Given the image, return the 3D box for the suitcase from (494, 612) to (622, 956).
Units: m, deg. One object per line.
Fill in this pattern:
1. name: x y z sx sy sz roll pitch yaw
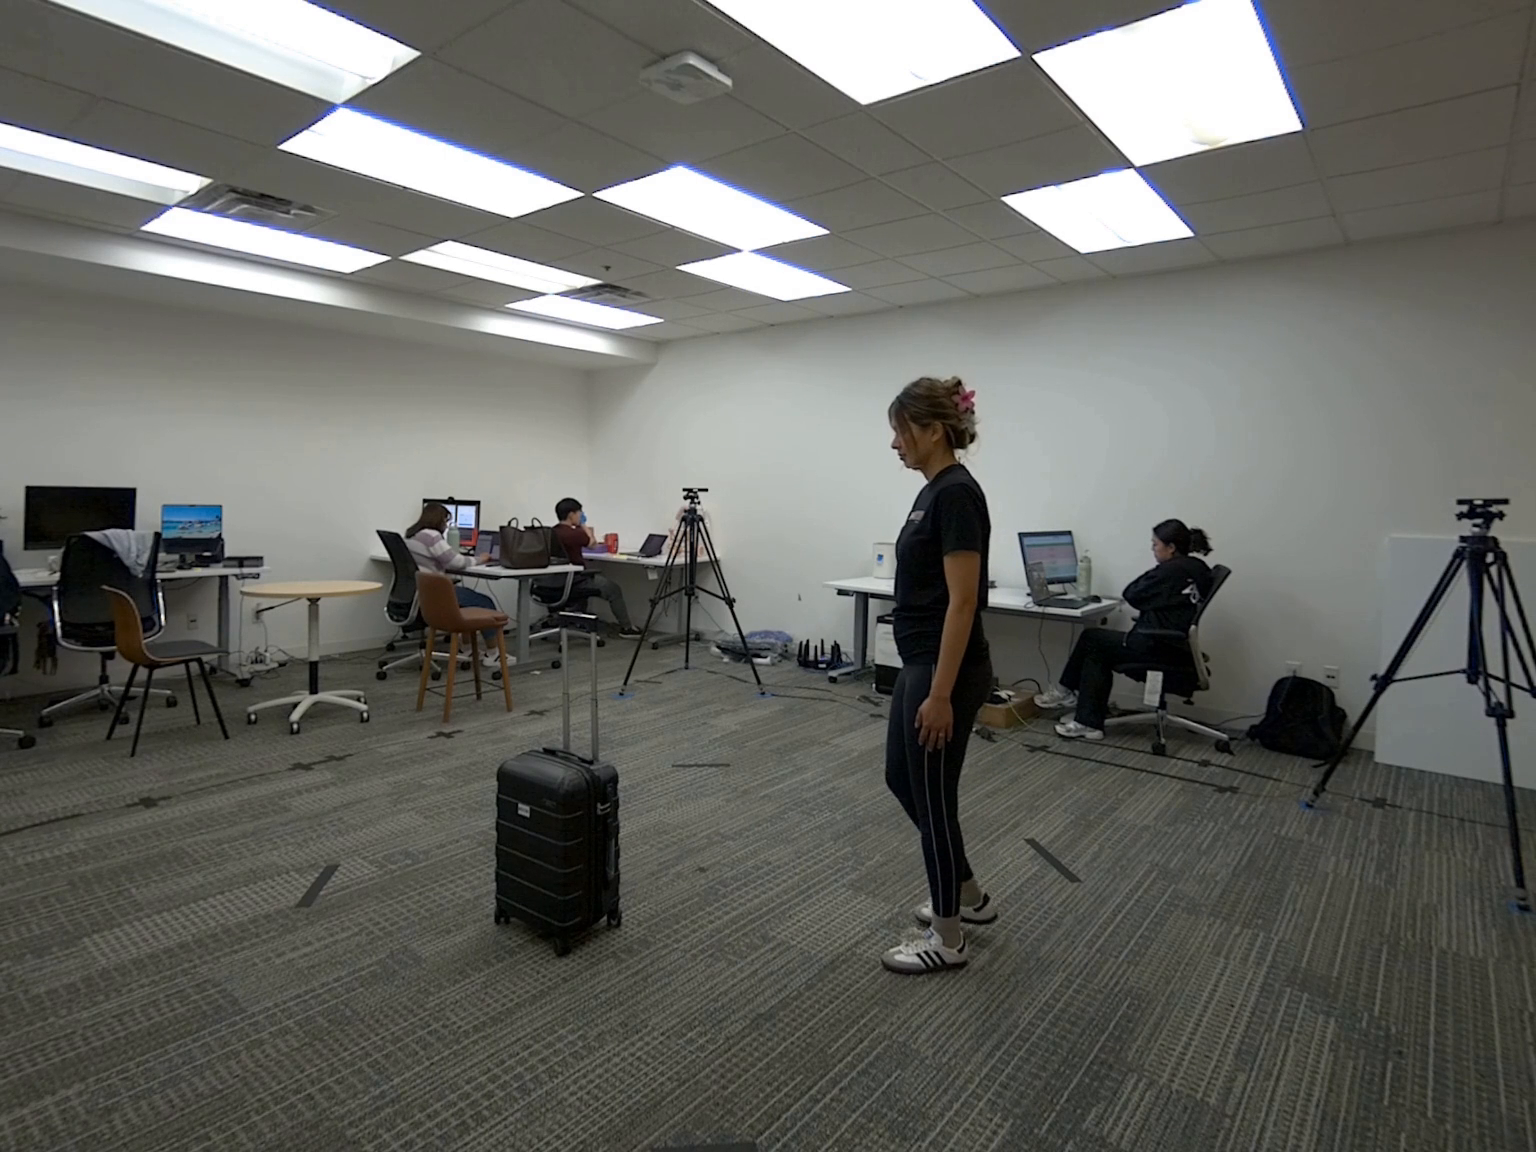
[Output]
1. suitcase: -0.673 0.633 2.644 0.396 0.973 0.250 5 8 35
